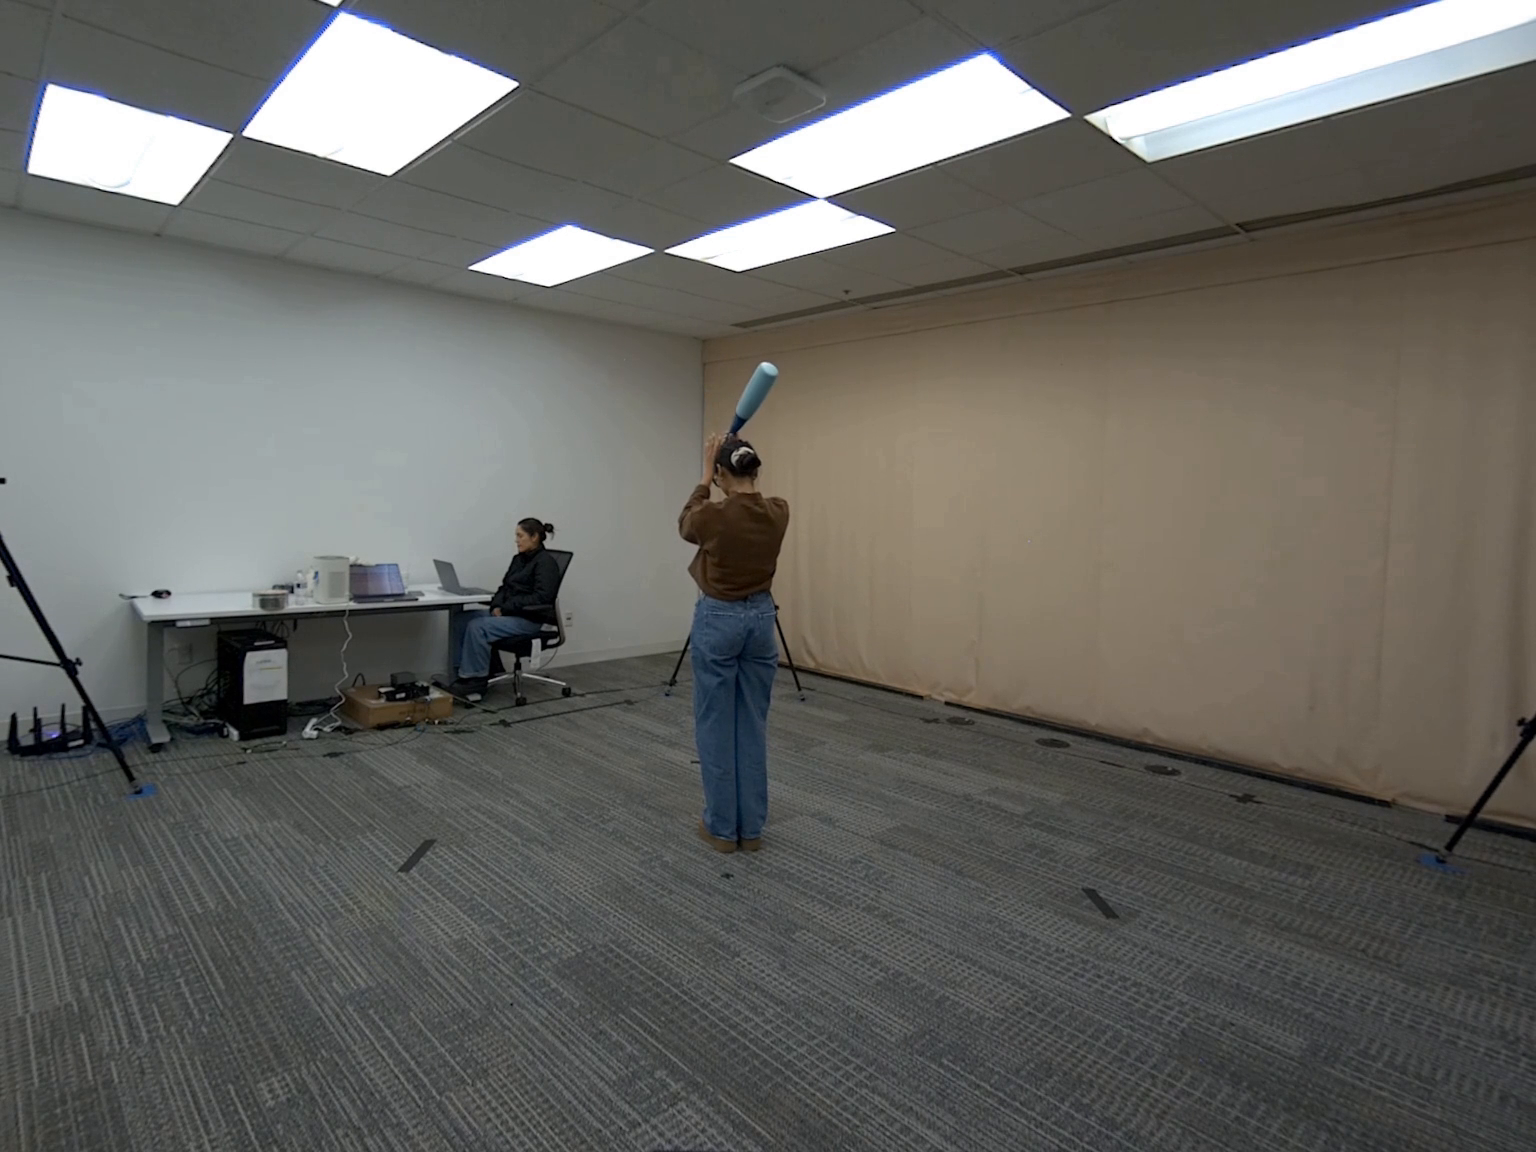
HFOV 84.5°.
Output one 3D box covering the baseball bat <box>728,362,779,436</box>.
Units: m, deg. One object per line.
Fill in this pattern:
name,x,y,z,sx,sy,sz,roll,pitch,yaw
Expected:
baseball bat,-0.123,-0.658,3.494,0.087,0.091,0.540,-1,-37,-32
